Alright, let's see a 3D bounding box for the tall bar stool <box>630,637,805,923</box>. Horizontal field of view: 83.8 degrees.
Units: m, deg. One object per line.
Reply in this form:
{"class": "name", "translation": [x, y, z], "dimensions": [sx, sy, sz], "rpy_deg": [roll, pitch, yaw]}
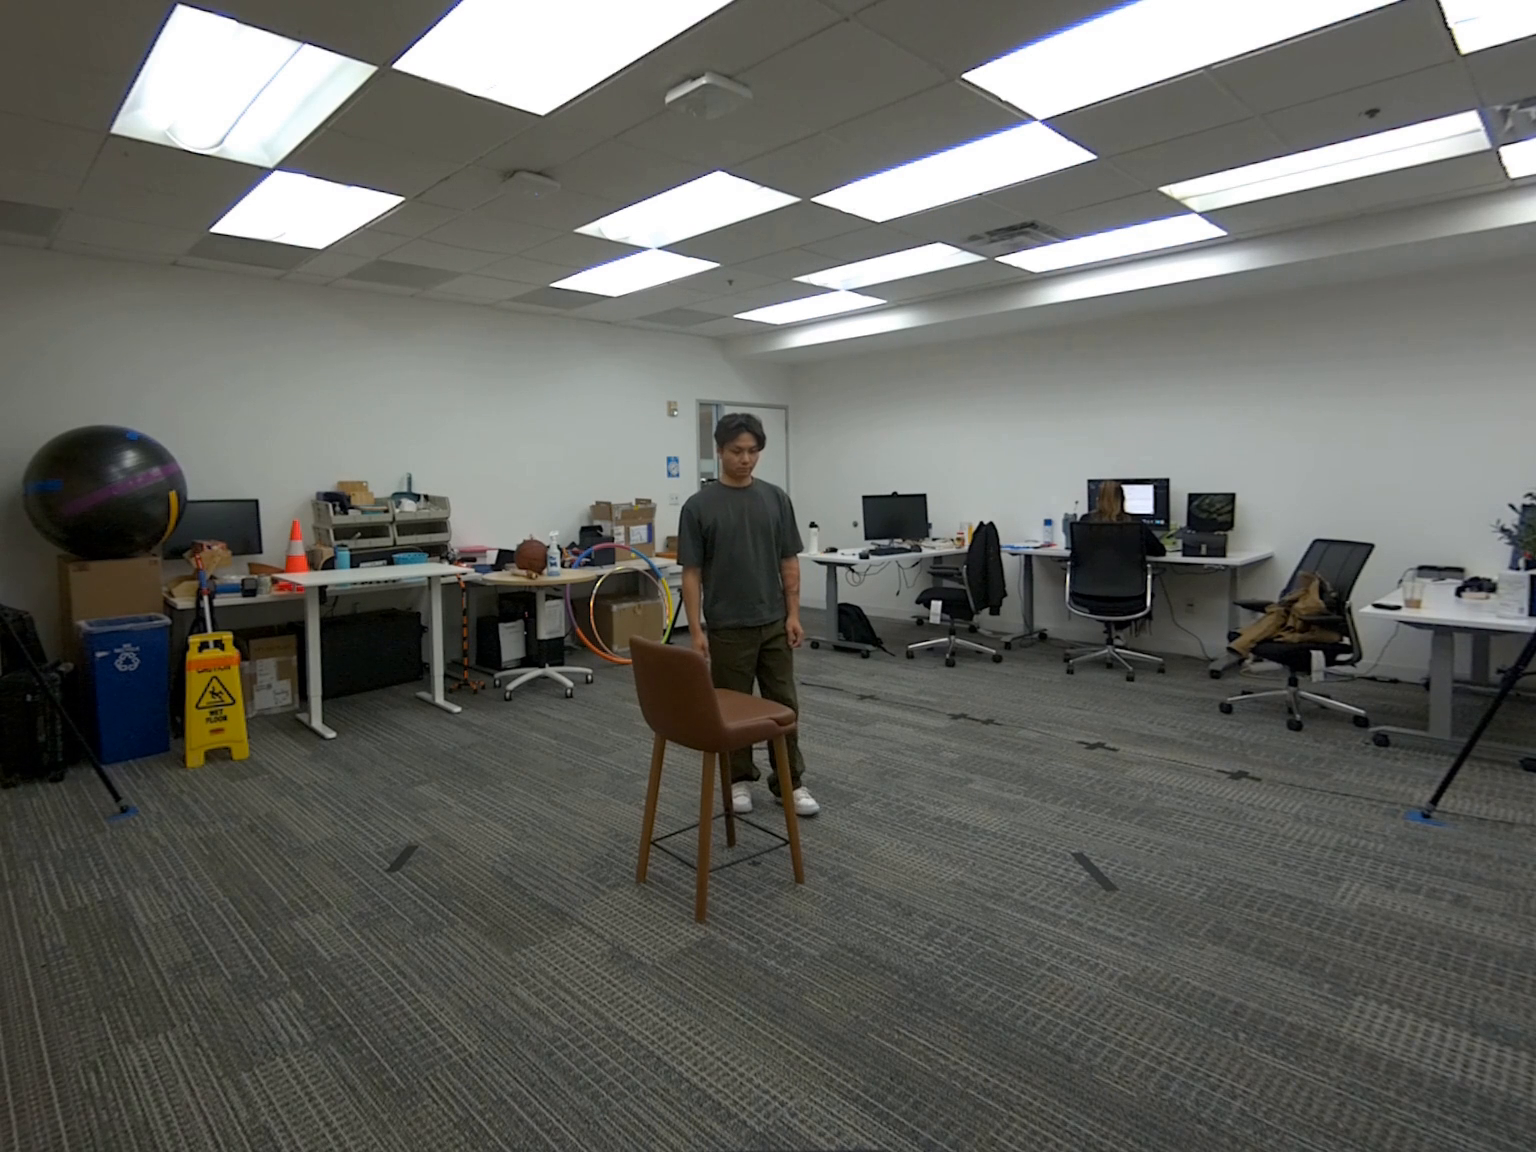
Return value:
{"class": "tall bar stool", "translation": [-0.184, 0.632, 2.942], "dimensions": [0.456, 0.885, 0.470], "rpy_deg": [-7, 7, -40]}
